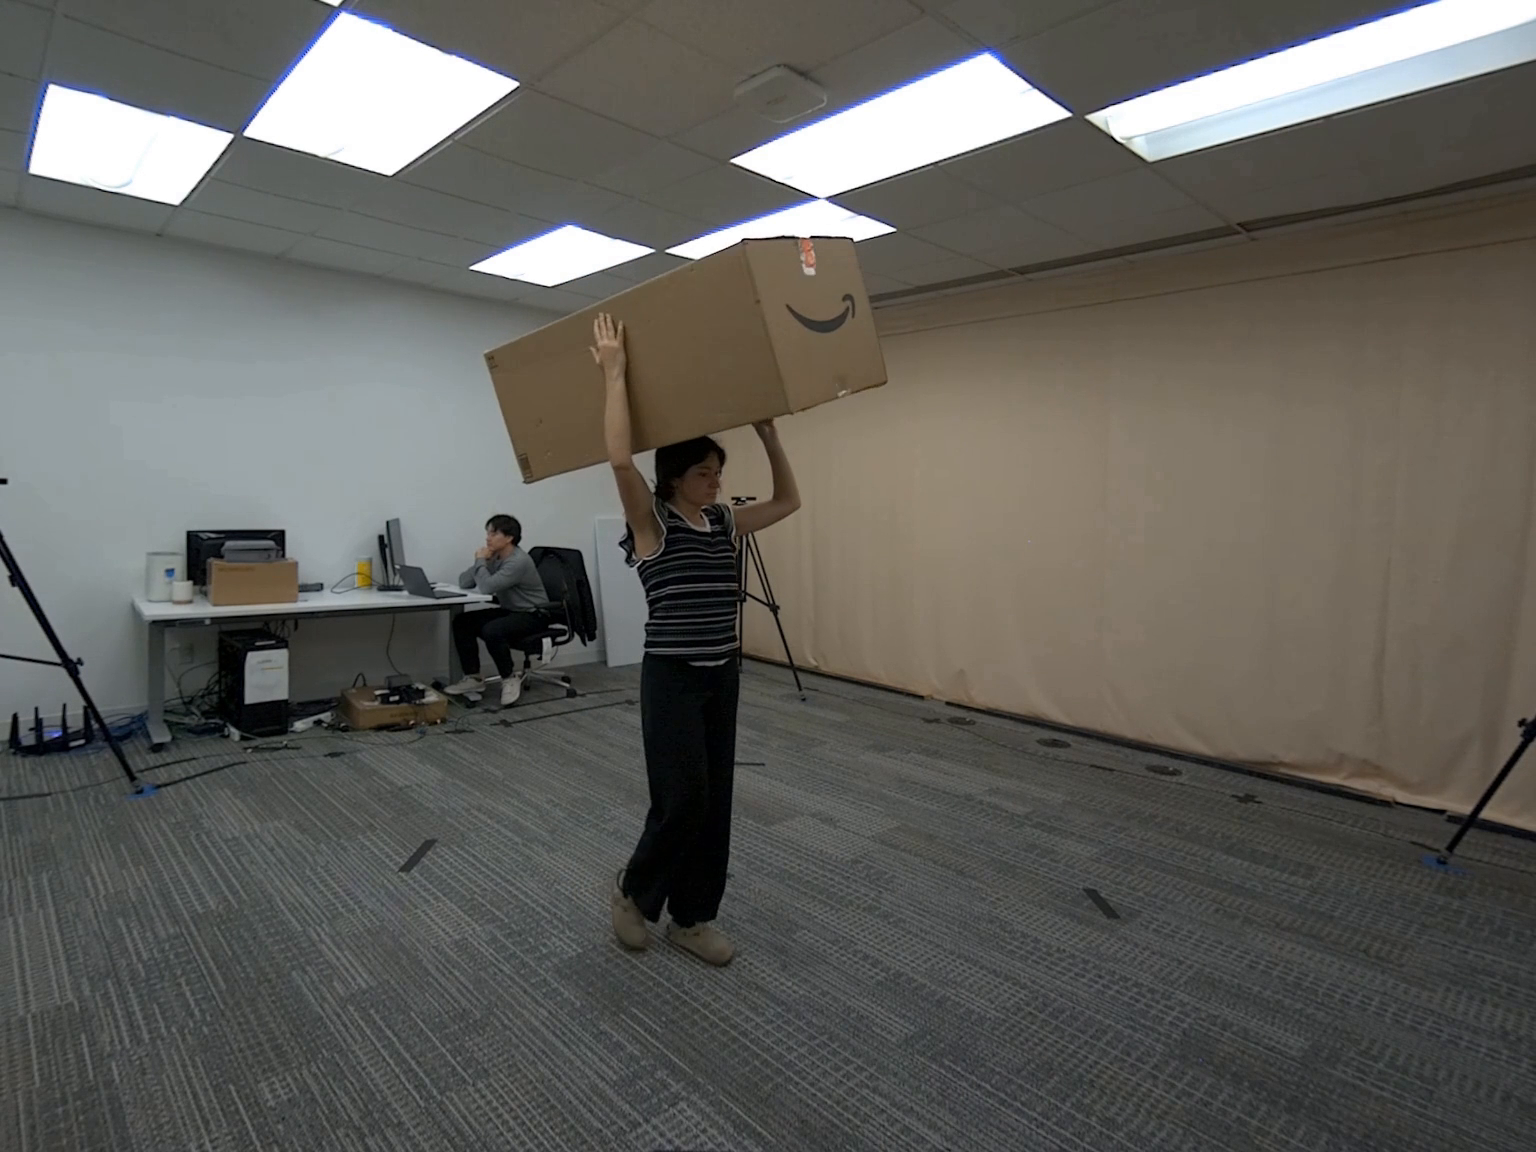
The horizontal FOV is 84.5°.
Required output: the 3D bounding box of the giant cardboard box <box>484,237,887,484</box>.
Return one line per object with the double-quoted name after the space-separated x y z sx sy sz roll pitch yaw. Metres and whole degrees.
-0.264 -0.620 2.517 1.046 0.422 0.571 -7 13 37 "giant cardboard box"
